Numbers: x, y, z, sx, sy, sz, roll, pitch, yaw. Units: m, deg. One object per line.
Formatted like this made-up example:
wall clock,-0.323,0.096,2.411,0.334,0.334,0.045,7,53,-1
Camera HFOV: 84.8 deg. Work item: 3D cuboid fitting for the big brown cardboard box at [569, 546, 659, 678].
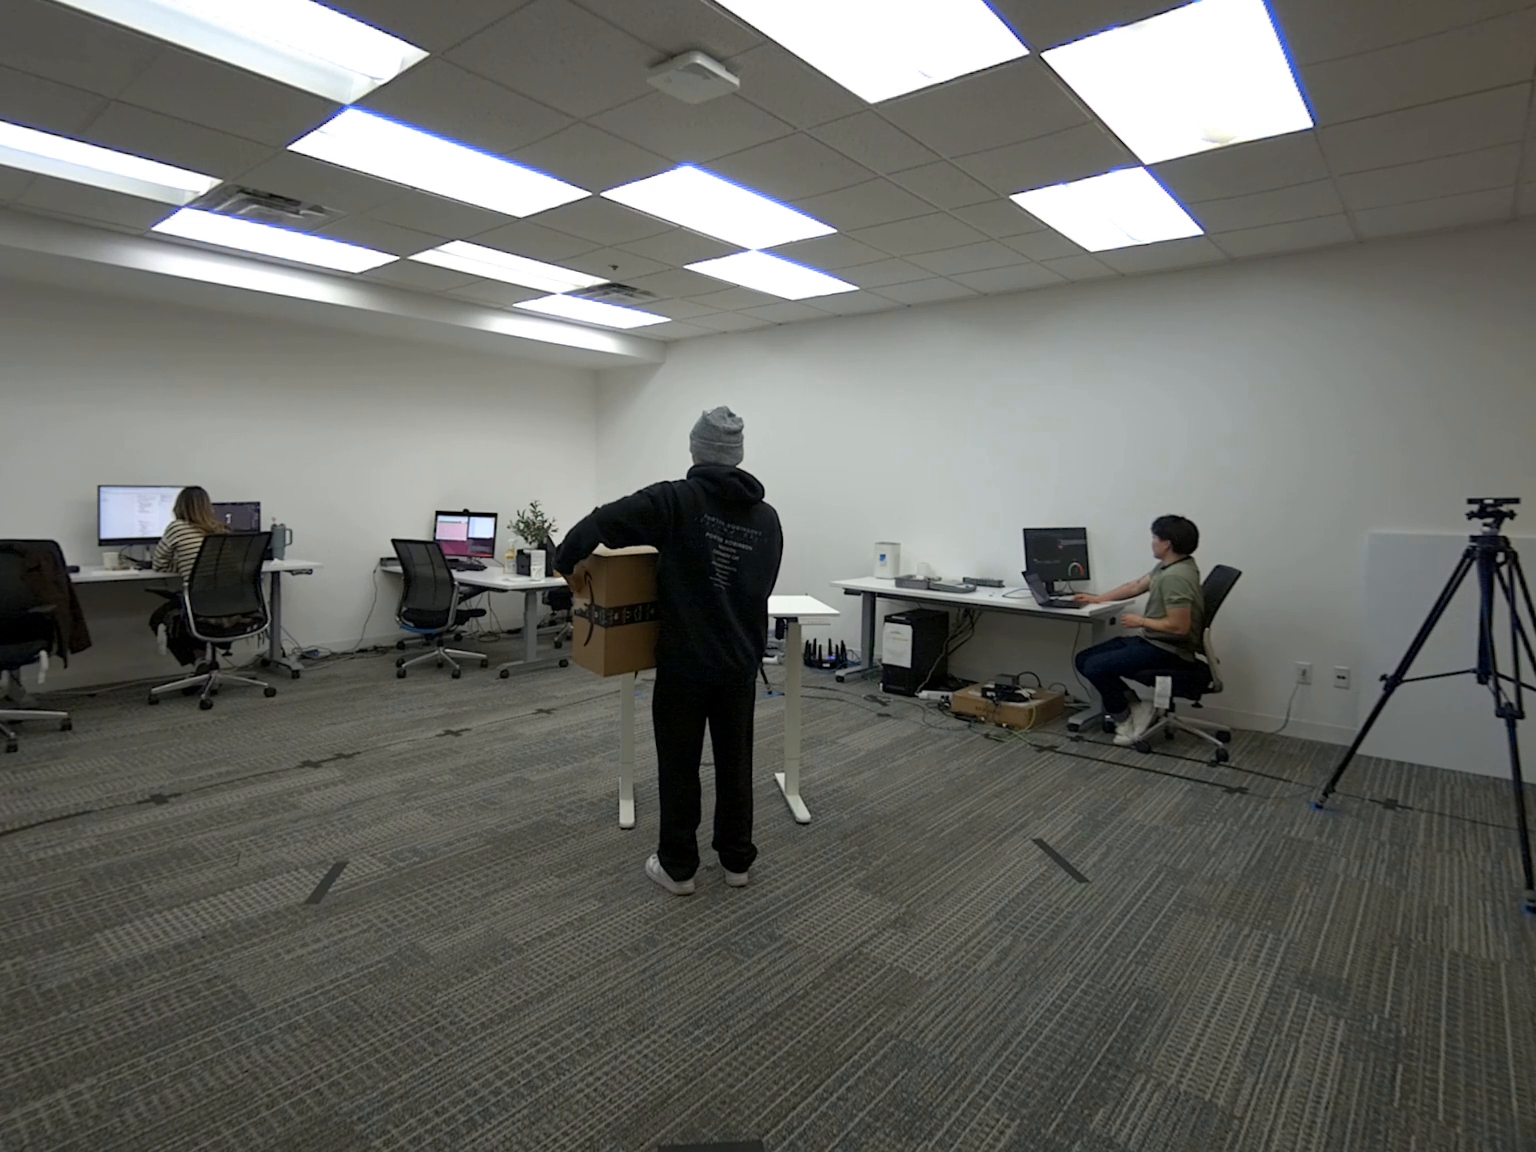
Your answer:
big brown cardboard box,-0.416,0.094,3.088,0.572,0.415,0.242,-4,10,-41
